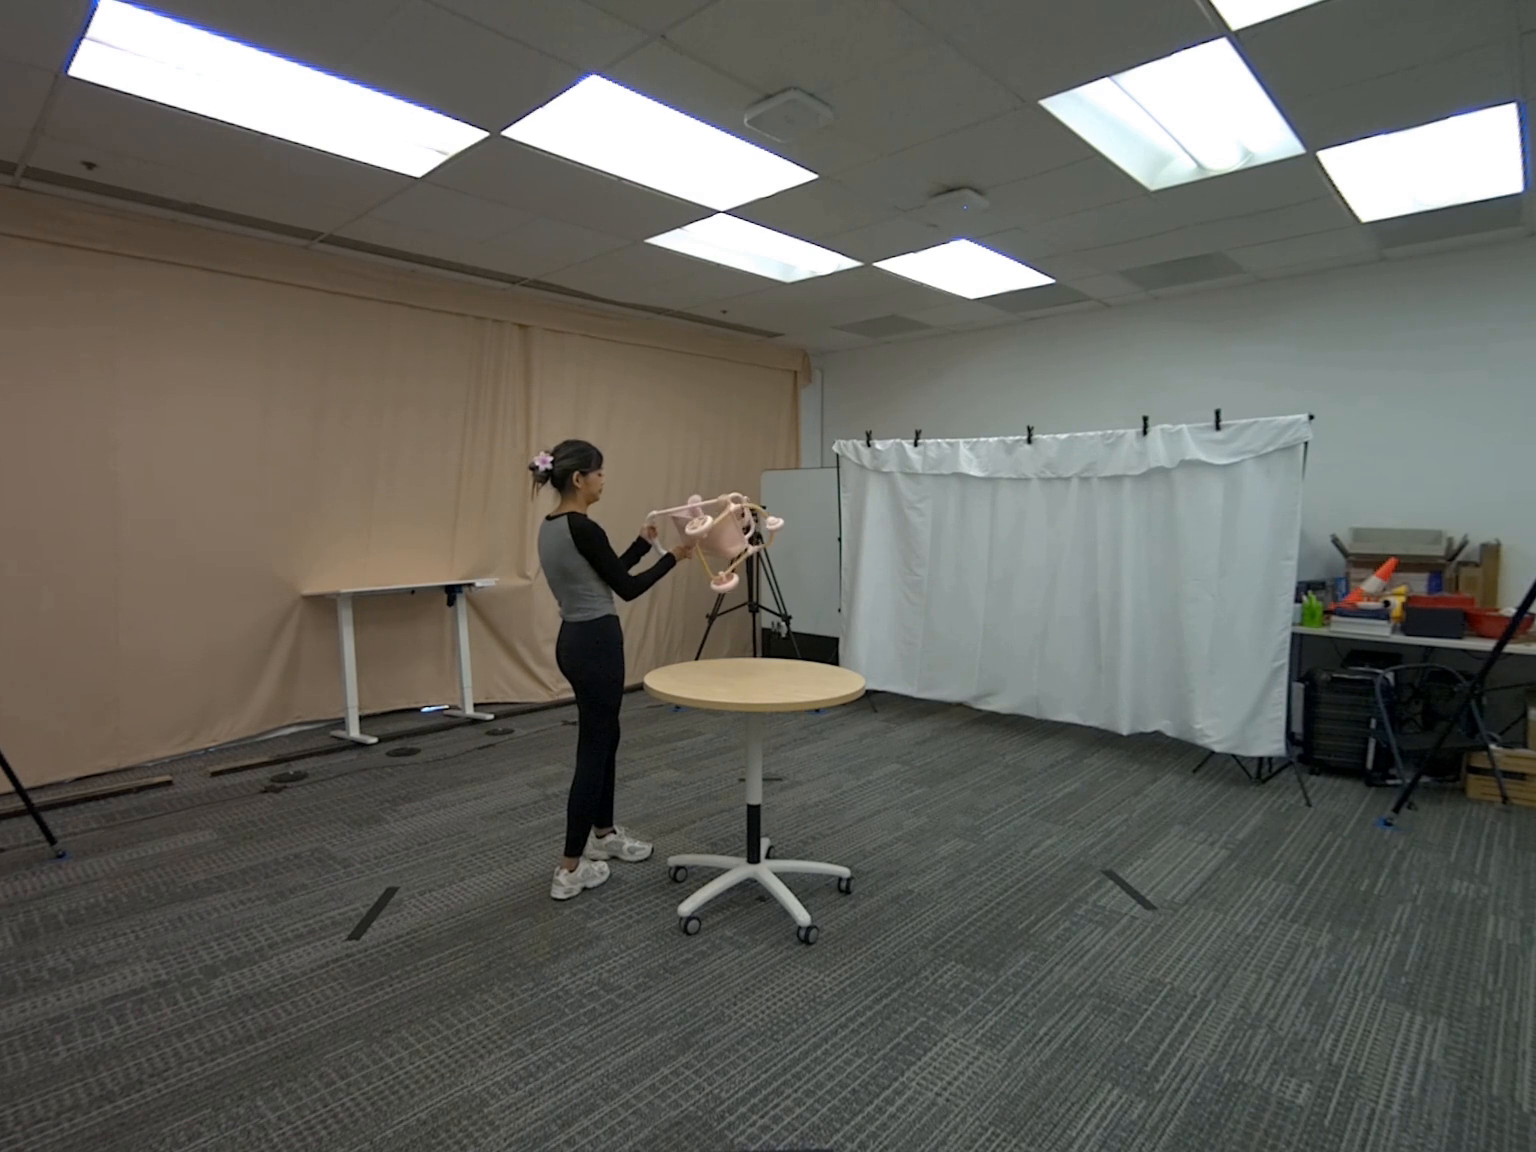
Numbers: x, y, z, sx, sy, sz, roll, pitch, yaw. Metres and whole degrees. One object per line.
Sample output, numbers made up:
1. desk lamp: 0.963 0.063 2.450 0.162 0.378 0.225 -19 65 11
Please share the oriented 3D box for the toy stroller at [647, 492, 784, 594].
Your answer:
1. toy stroller: -0.202 -0.173 3.188 0.338 0.274 0.553 -37 29 -17
